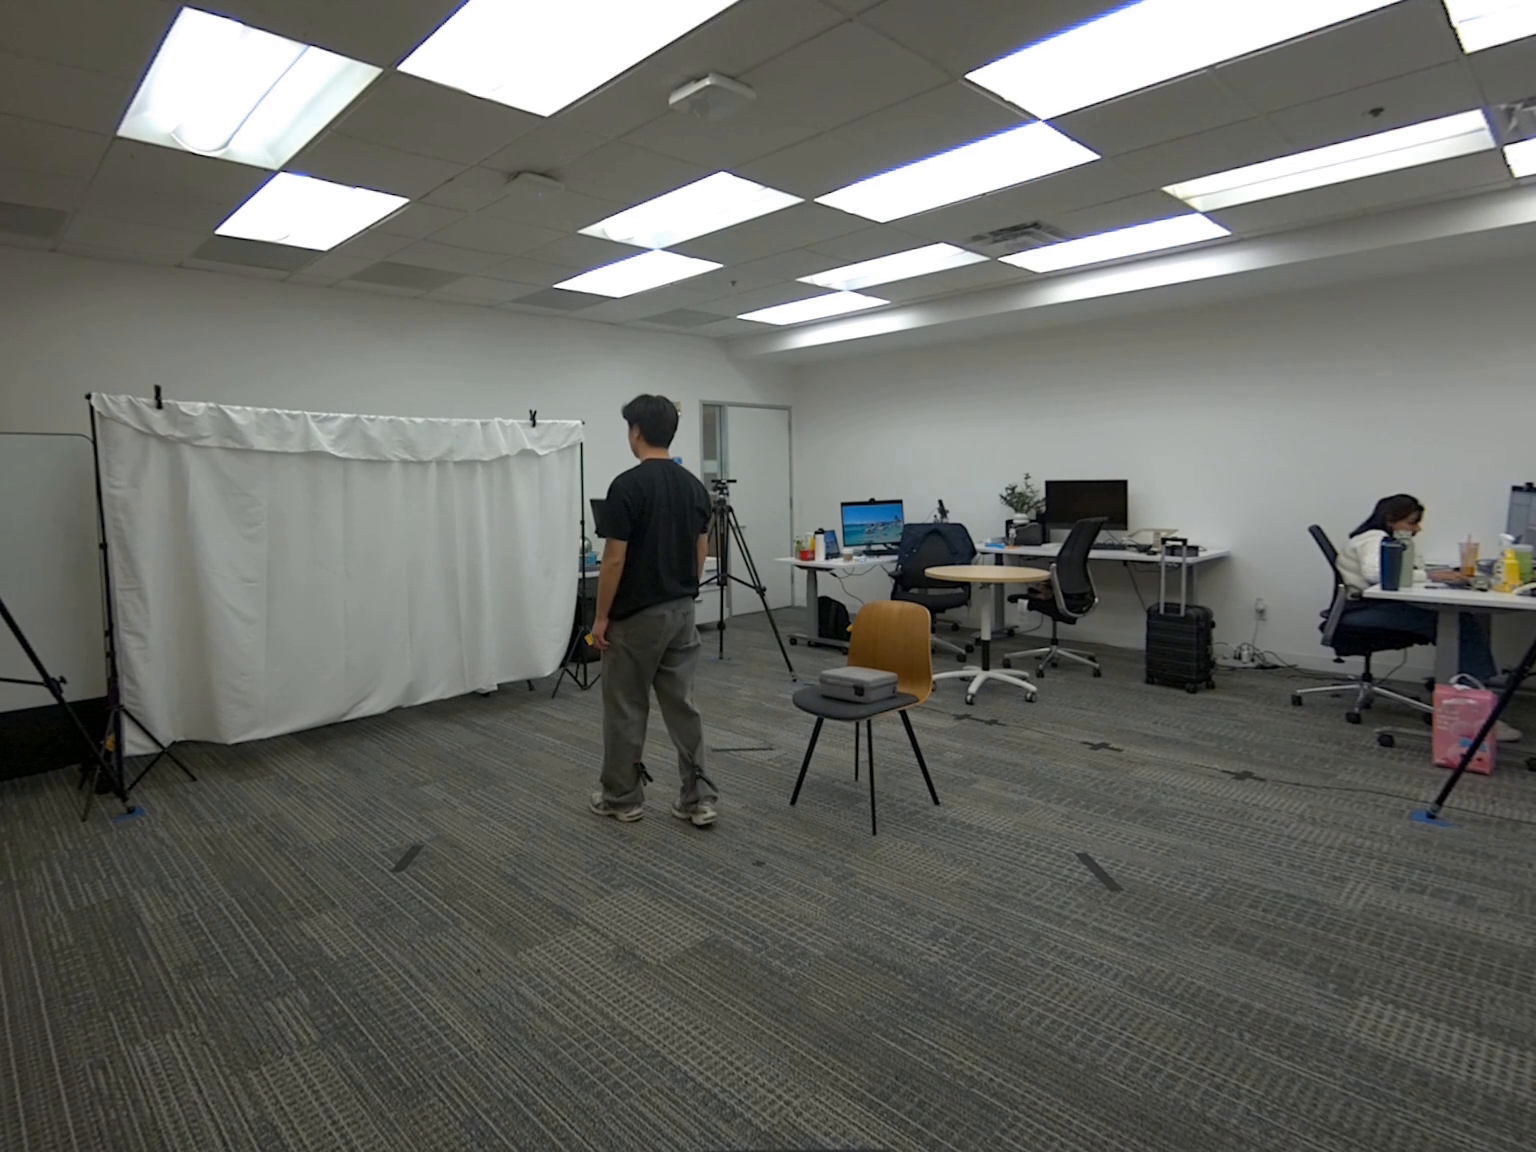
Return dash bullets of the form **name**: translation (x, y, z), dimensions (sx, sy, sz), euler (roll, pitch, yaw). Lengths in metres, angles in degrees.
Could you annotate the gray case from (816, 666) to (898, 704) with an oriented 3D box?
- **gray case**: translation (0.381, 0.453, 3.597), dimensions (0.271, 0.103, 0.279), euler (4, 4, 40)
